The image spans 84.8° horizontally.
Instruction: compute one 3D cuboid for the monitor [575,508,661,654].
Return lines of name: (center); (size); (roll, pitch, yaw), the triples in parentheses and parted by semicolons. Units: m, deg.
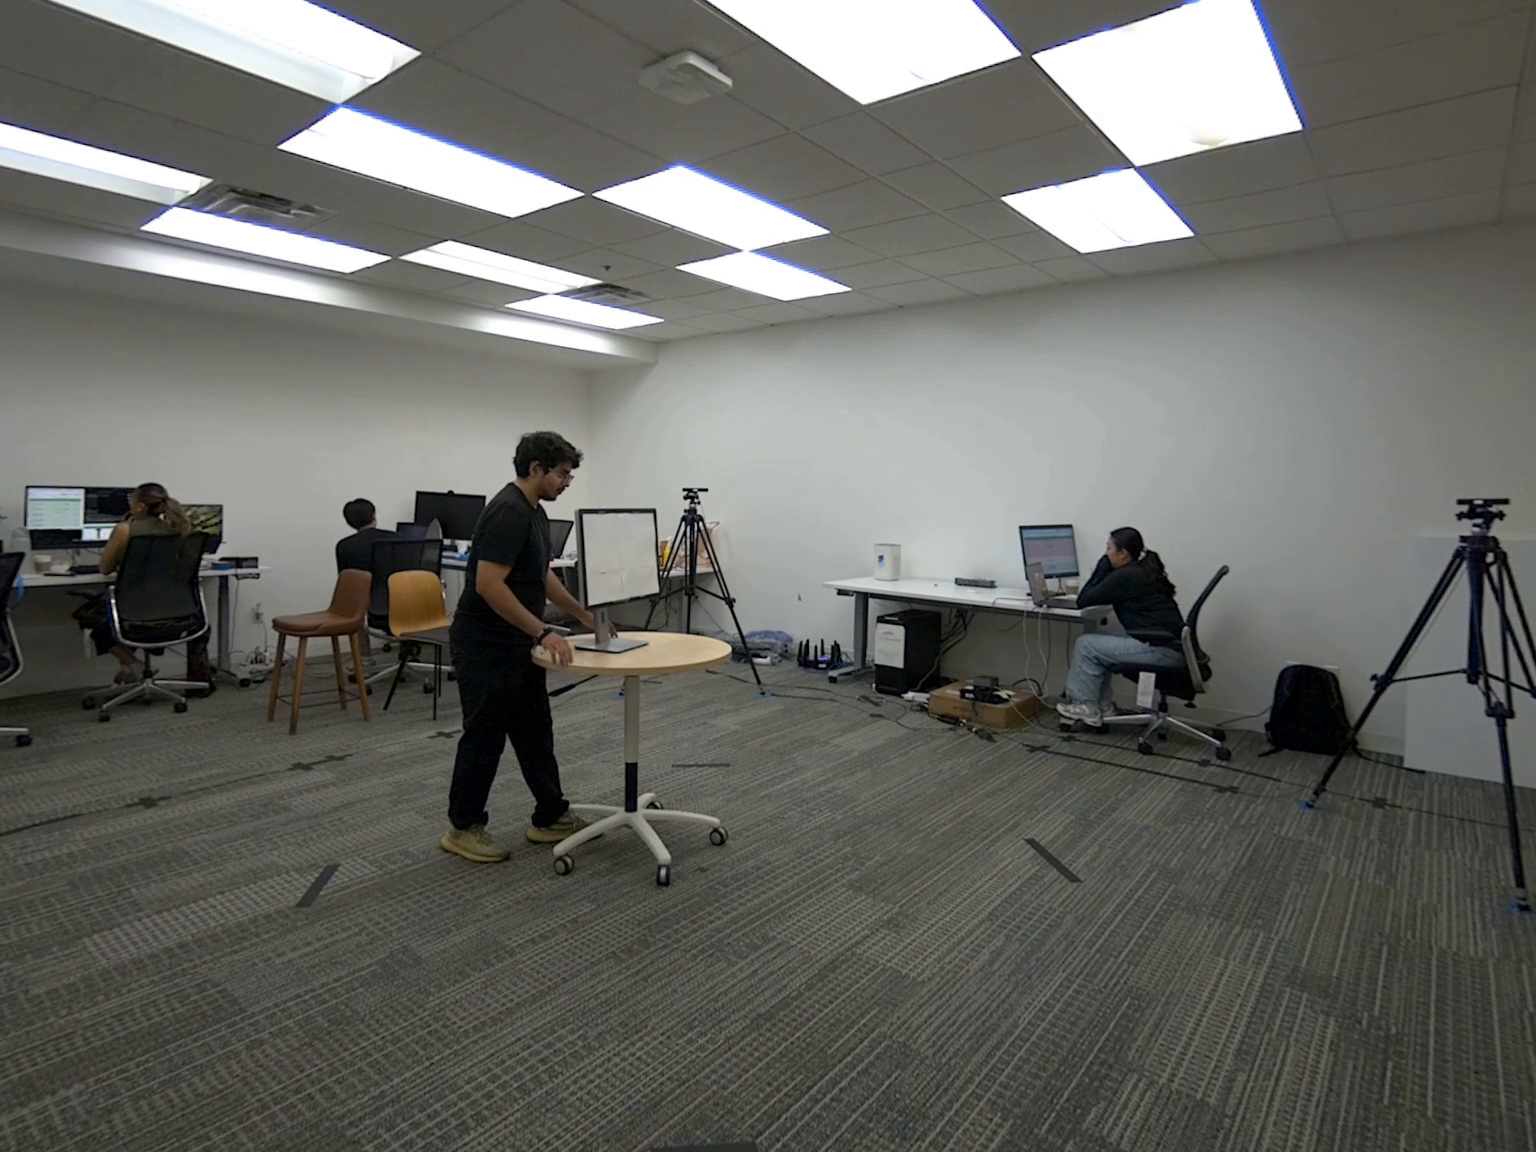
monitor: (-0.639, 0.009, 3.298); (0.215, 0.553, 0.553); (0, 3, 23)
